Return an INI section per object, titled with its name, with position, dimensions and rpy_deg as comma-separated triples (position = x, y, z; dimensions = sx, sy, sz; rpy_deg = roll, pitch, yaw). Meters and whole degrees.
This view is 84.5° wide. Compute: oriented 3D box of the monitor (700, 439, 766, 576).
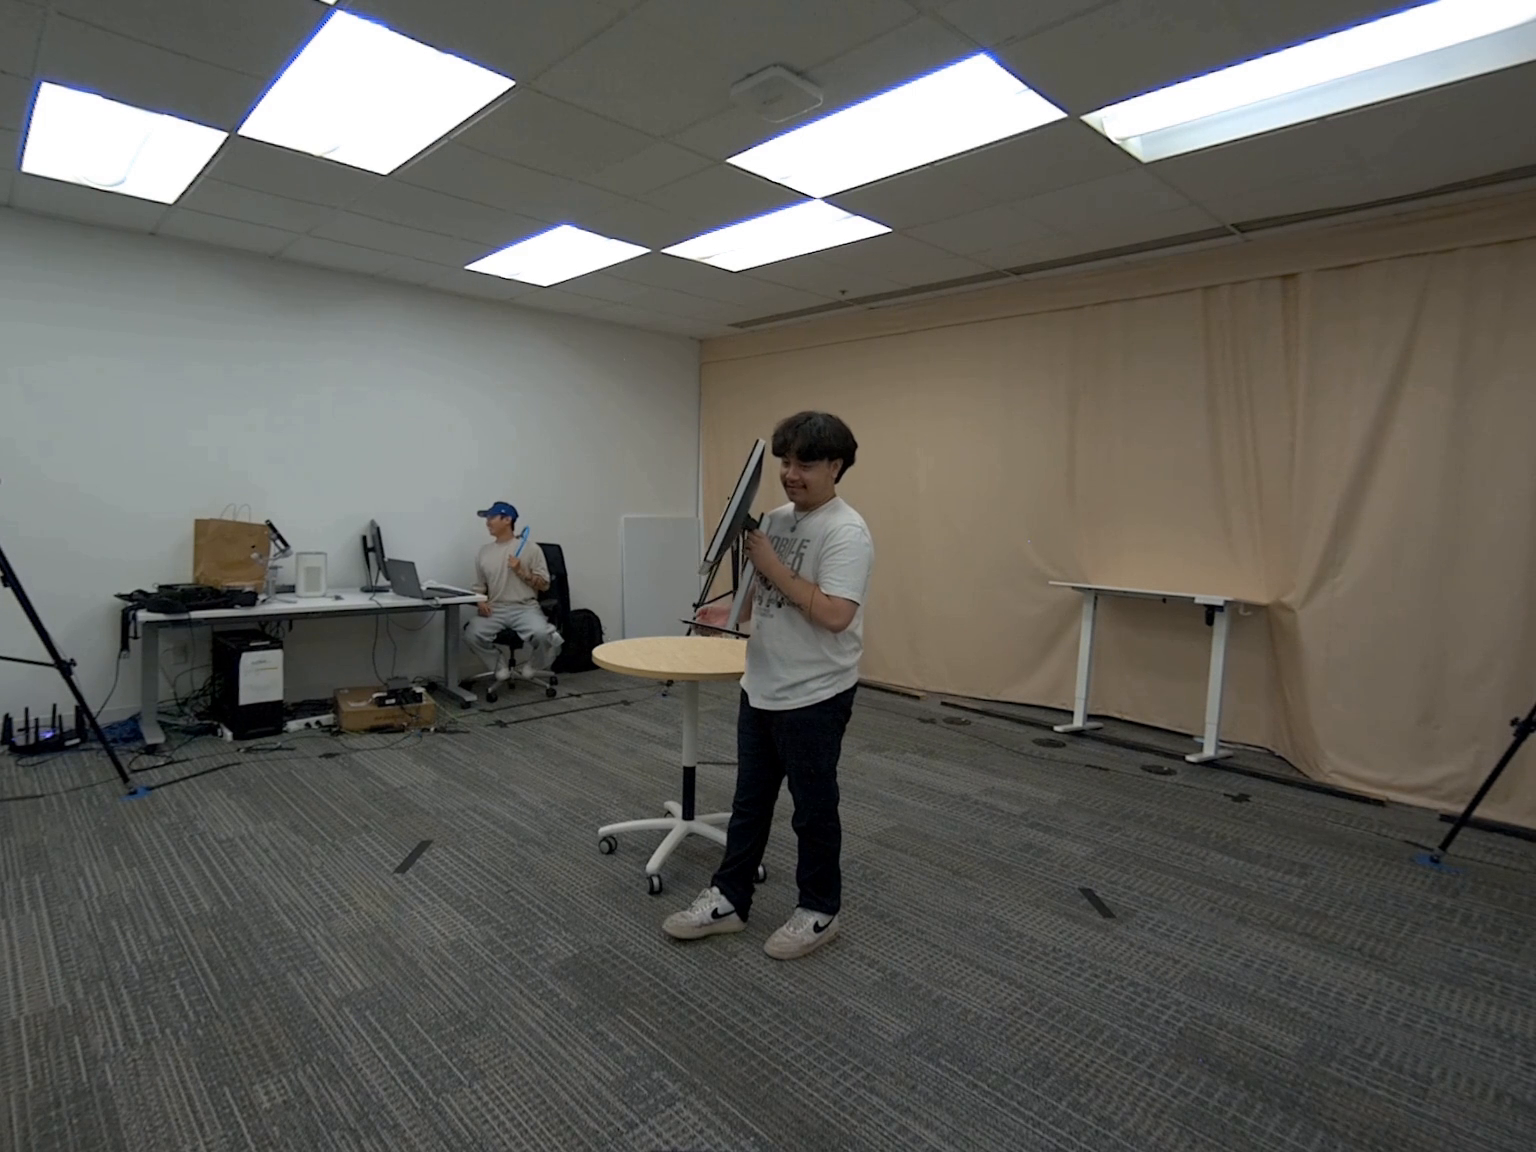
[monitor]
position = -0.085, -0.080, 2.500
dimensions = 0.209, 0.555, 0.566
rpy_deg = 18, -6, -5
